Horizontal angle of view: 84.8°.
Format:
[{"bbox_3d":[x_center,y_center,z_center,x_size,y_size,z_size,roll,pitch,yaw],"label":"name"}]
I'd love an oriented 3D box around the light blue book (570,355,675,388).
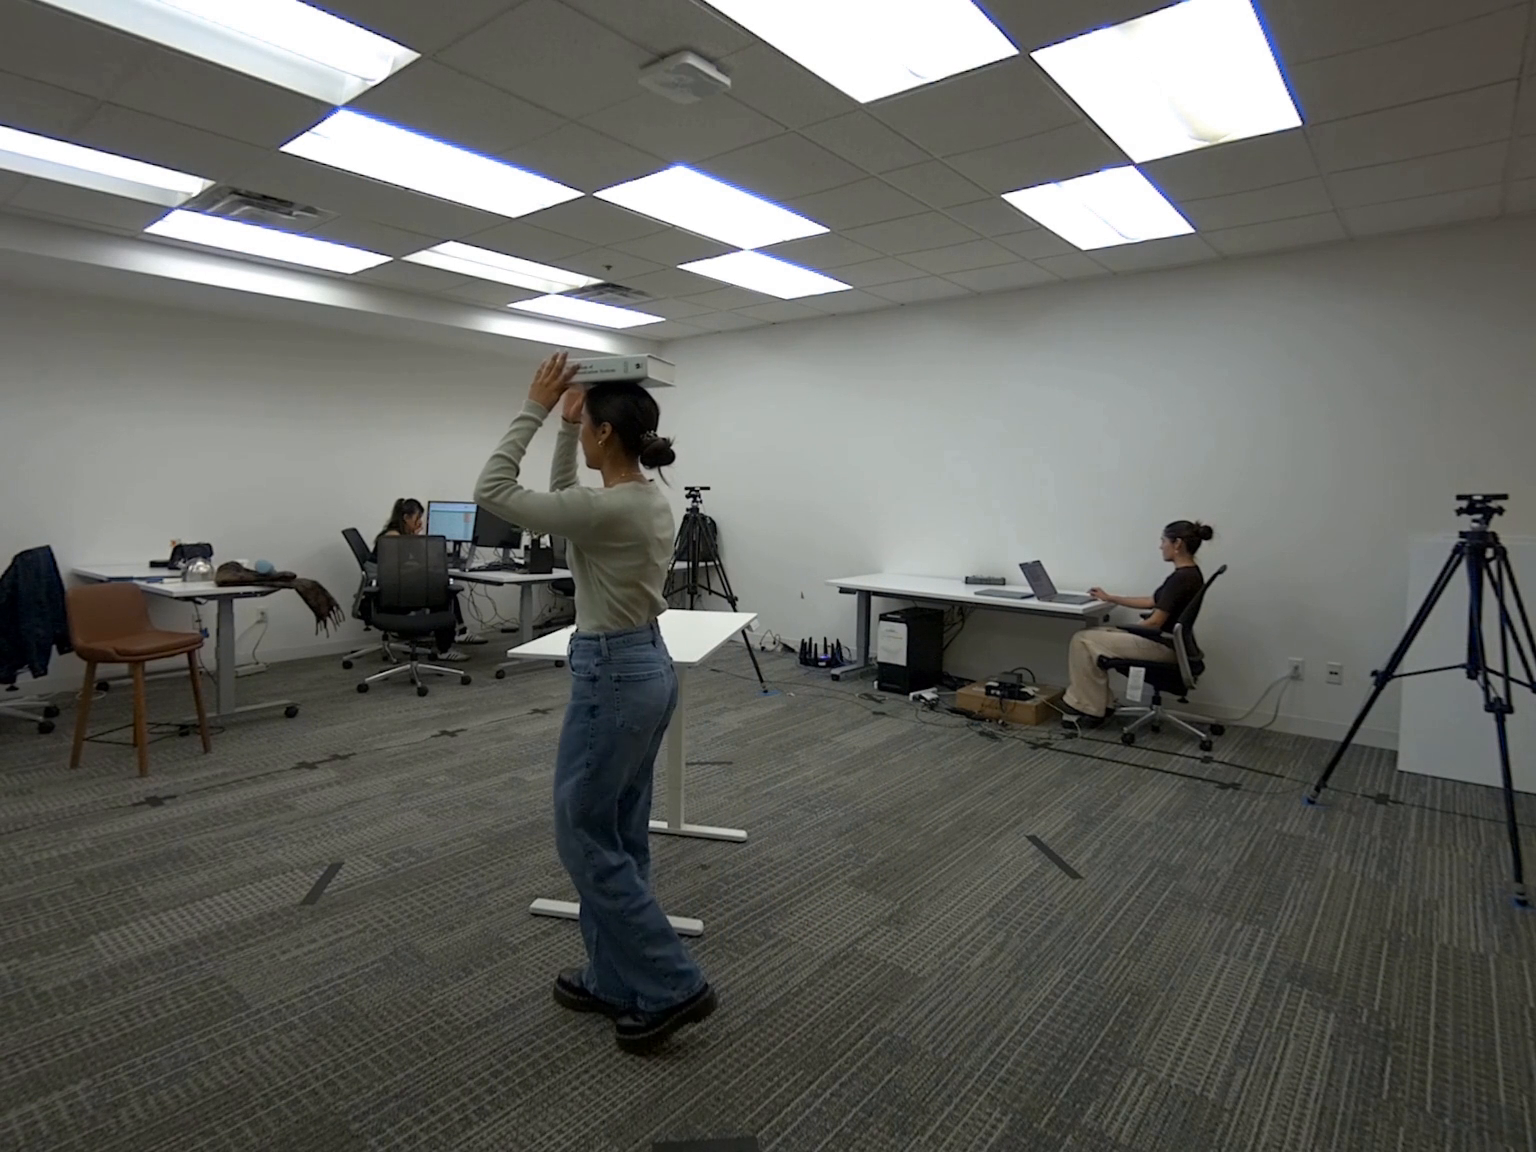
[{"bbox_3d":[-0.387,-0.511,2.145,0.265,0.059,0.189,1,6,13],"label":"light blue book"}]
